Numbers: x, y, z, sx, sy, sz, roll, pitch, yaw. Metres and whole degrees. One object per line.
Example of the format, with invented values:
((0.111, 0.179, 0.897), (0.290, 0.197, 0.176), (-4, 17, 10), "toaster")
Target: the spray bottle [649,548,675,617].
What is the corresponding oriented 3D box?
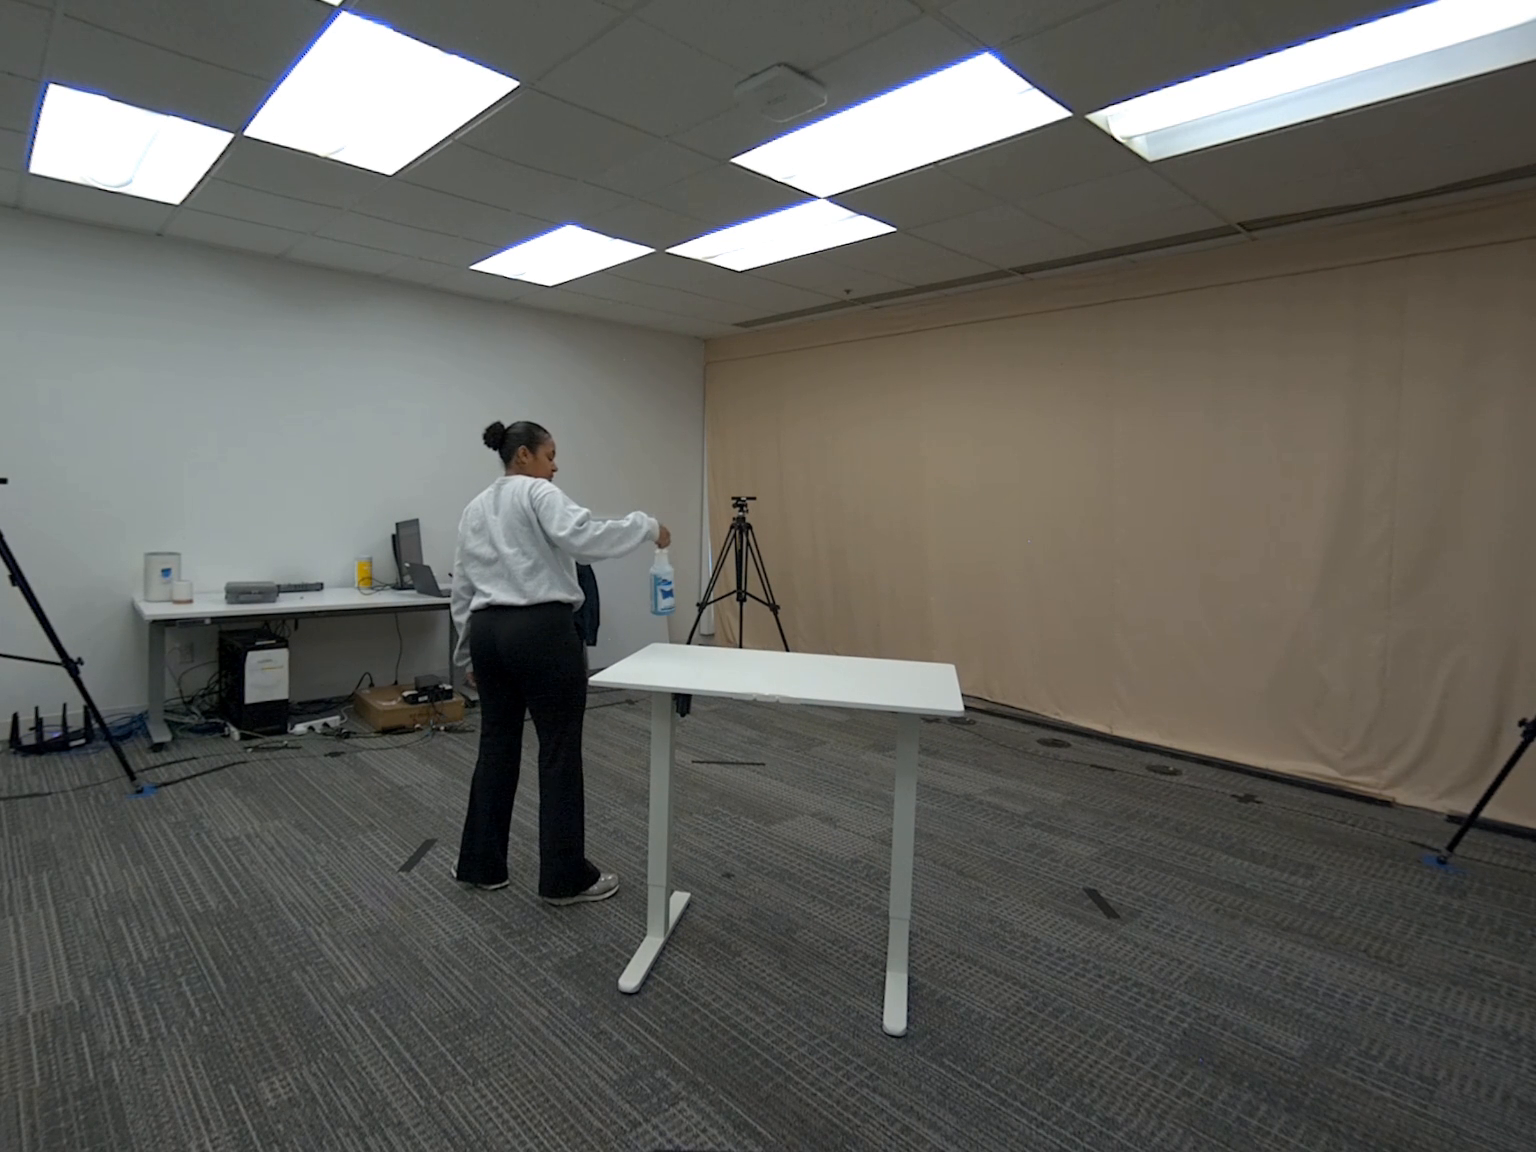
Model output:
((-0.385, 0.004, 2.968), (0.089, 0.295, 0.089), (5, 11, 24), "spray bottle")
